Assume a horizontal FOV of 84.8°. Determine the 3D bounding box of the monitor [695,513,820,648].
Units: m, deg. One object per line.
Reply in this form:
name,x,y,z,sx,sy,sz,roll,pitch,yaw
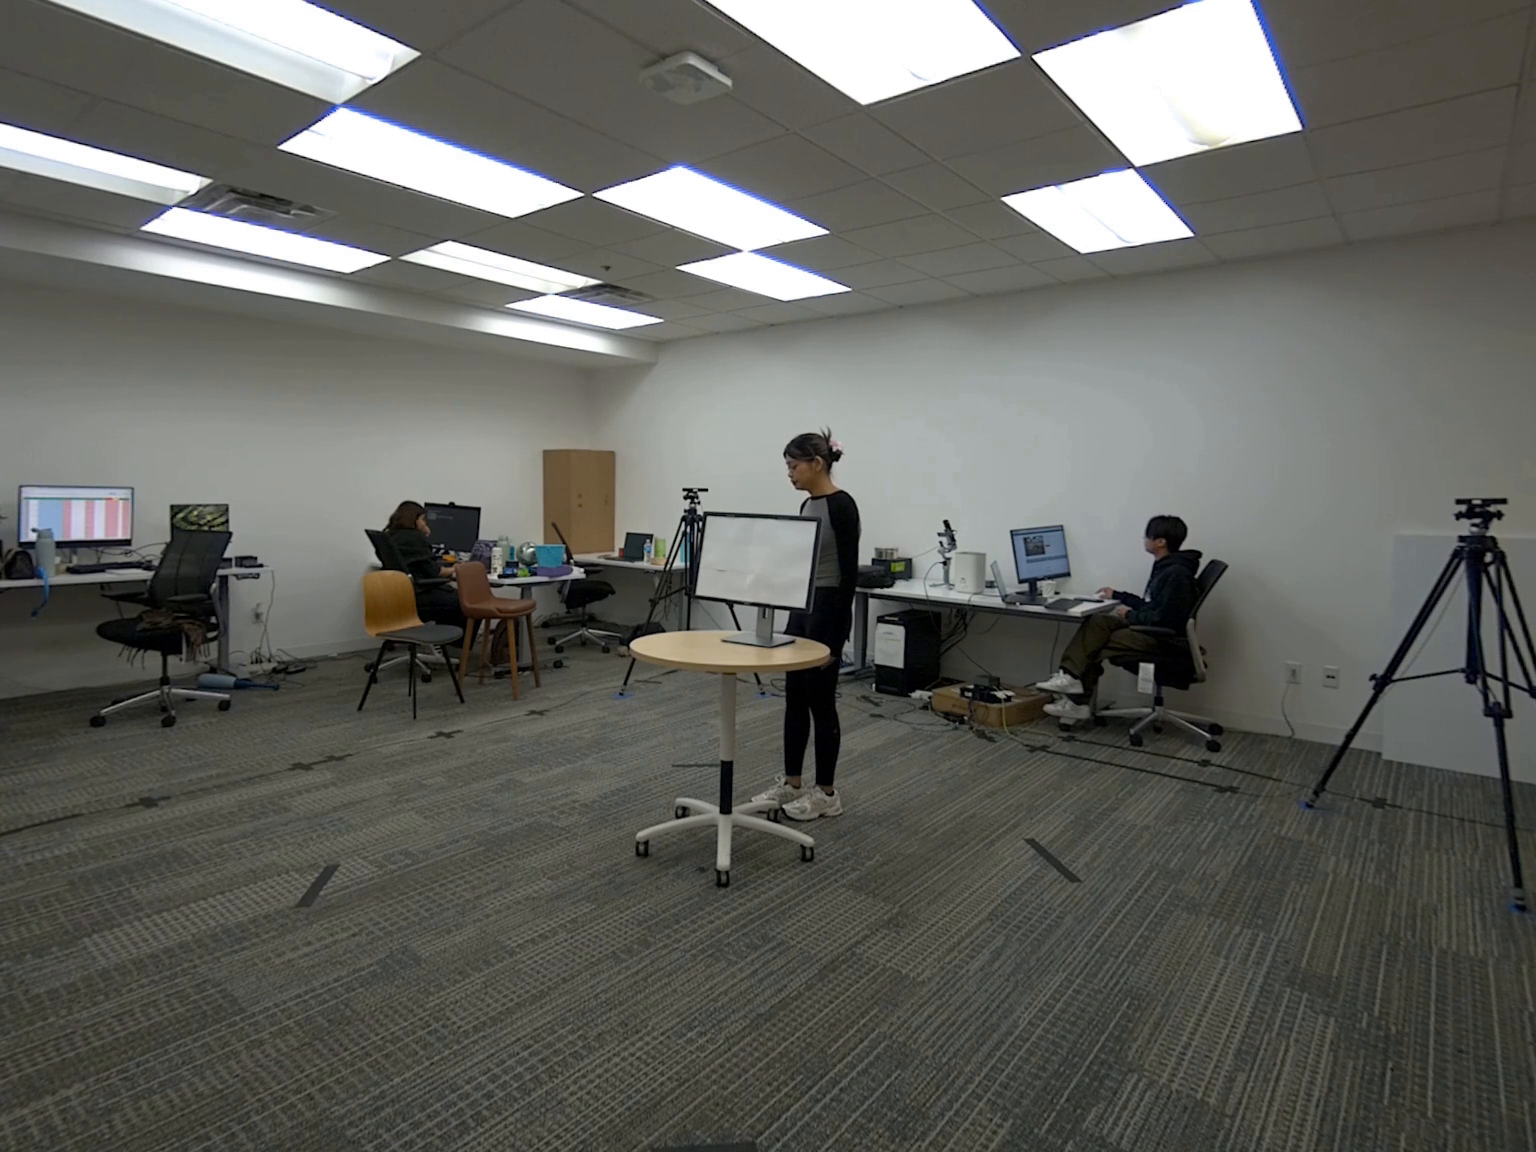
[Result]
monitor,-0.046,0.011,3.366,0.547,0.511,0.171,6,12,35
